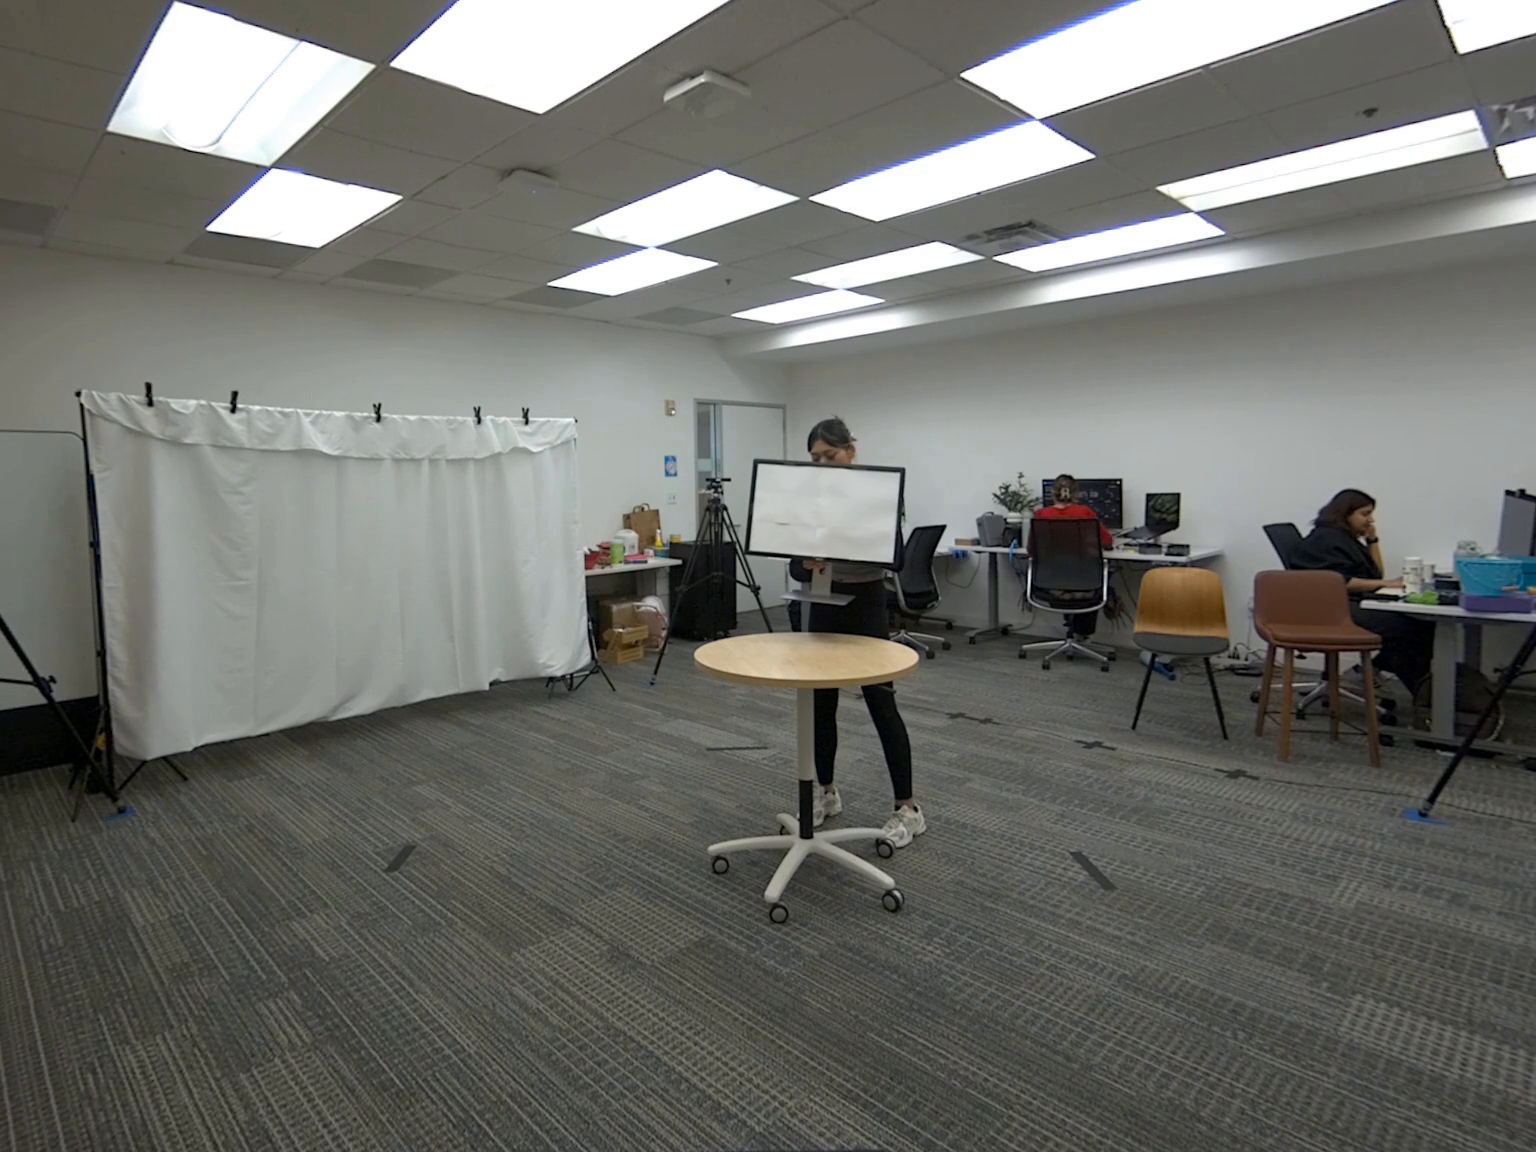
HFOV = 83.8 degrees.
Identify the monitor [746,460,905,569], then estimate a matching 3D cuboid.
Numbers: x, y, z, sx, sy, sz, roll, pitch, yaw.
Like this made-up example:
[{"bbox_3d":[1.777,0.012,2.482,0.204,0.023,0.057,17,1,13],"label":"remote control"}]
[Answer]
[{"bbox_3d":[0.204,-0.161,3.169,0.545,0.520,0.186,6,6,11],"label":"monitor"}]
